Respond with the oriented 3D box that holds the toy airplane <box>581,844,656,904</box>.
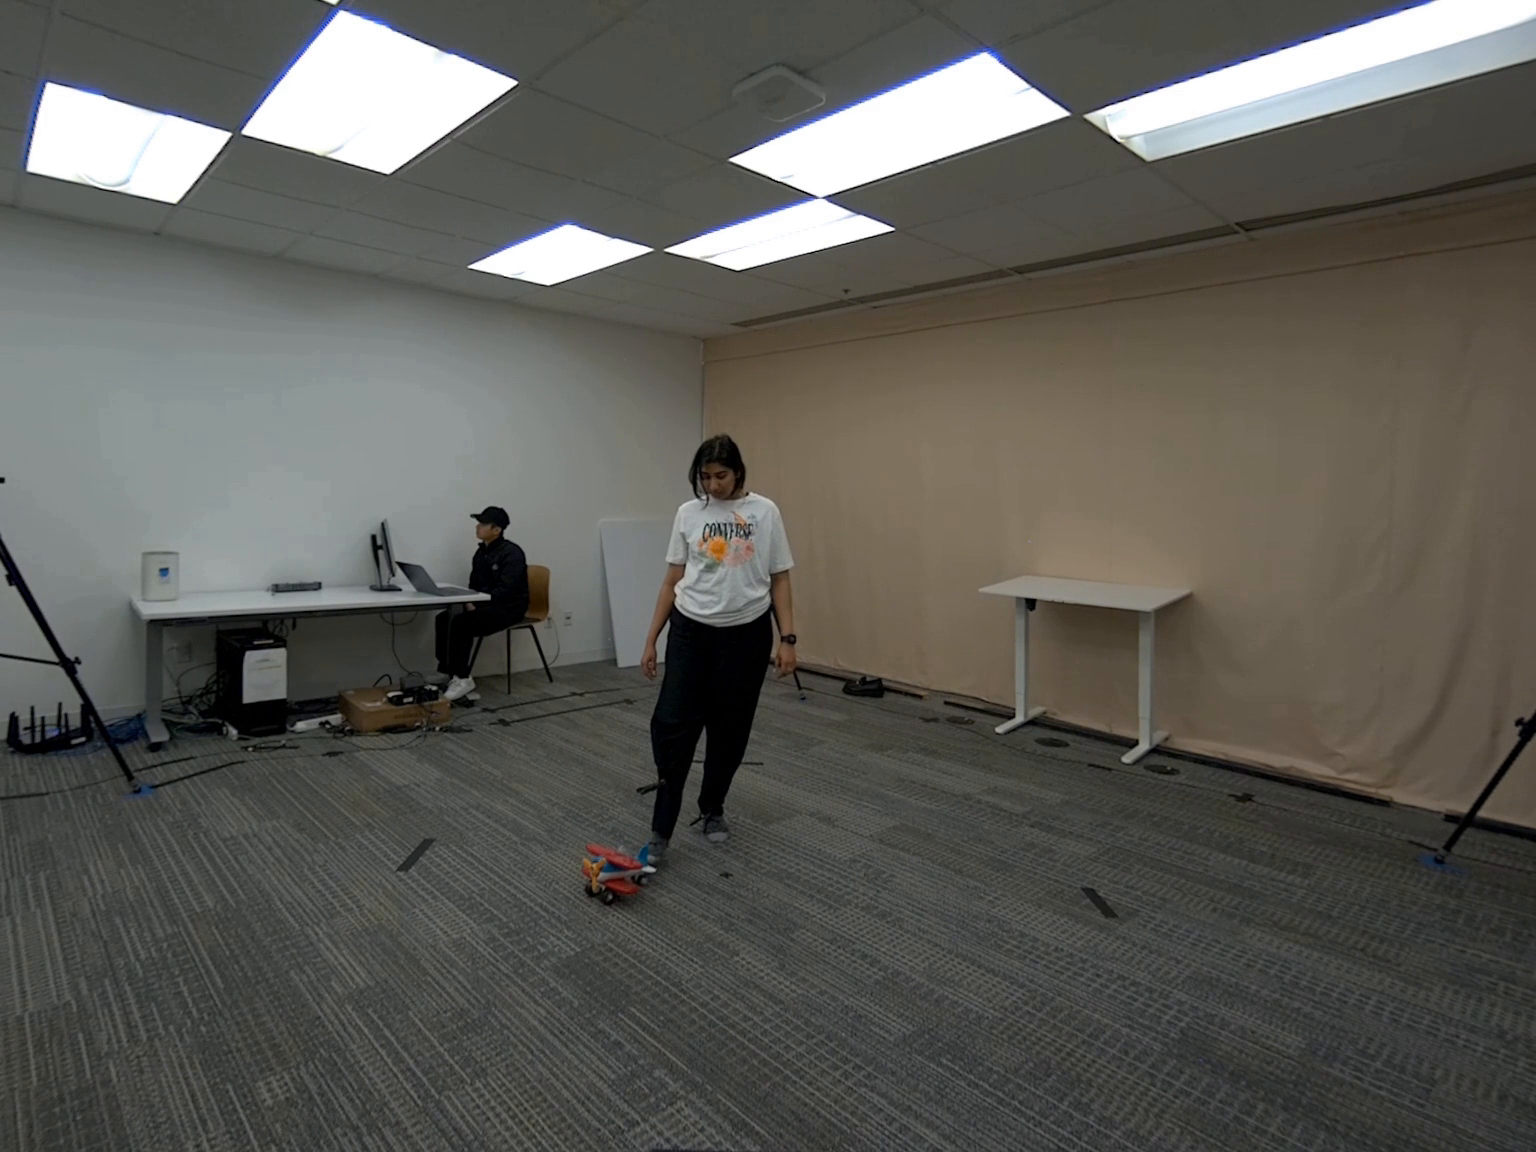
[{"bbox_3d":[-0.540,1.033,2.963,0.254,0.156,0.257,2,6,12],"label":"toy airplane"}]
